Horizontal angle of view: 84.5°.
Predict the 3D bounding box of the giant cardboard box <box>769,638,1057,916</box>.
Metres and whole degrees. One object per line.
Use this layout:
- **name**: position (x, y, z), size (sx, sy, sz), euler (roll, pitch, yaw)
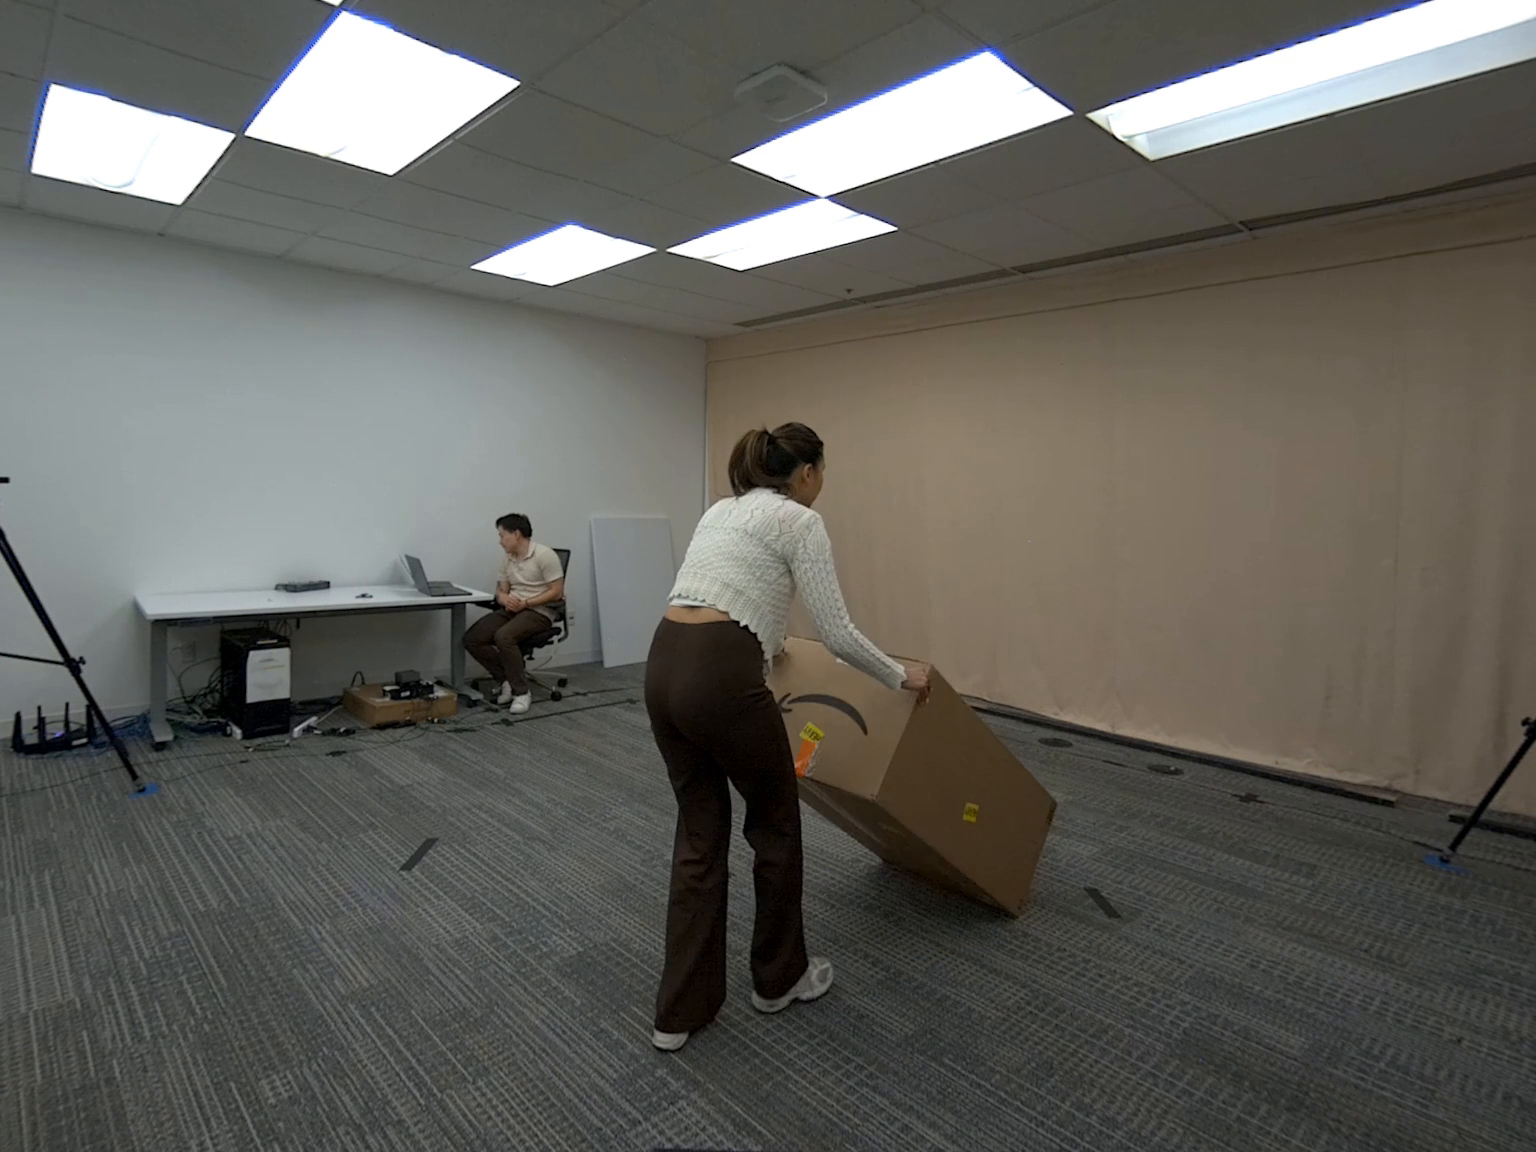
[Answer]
- **giant cardboard box**: position (0.450, 0.677, 2.820), size (0.593, 0.428, 0.994), euler (7, -29, 46)
